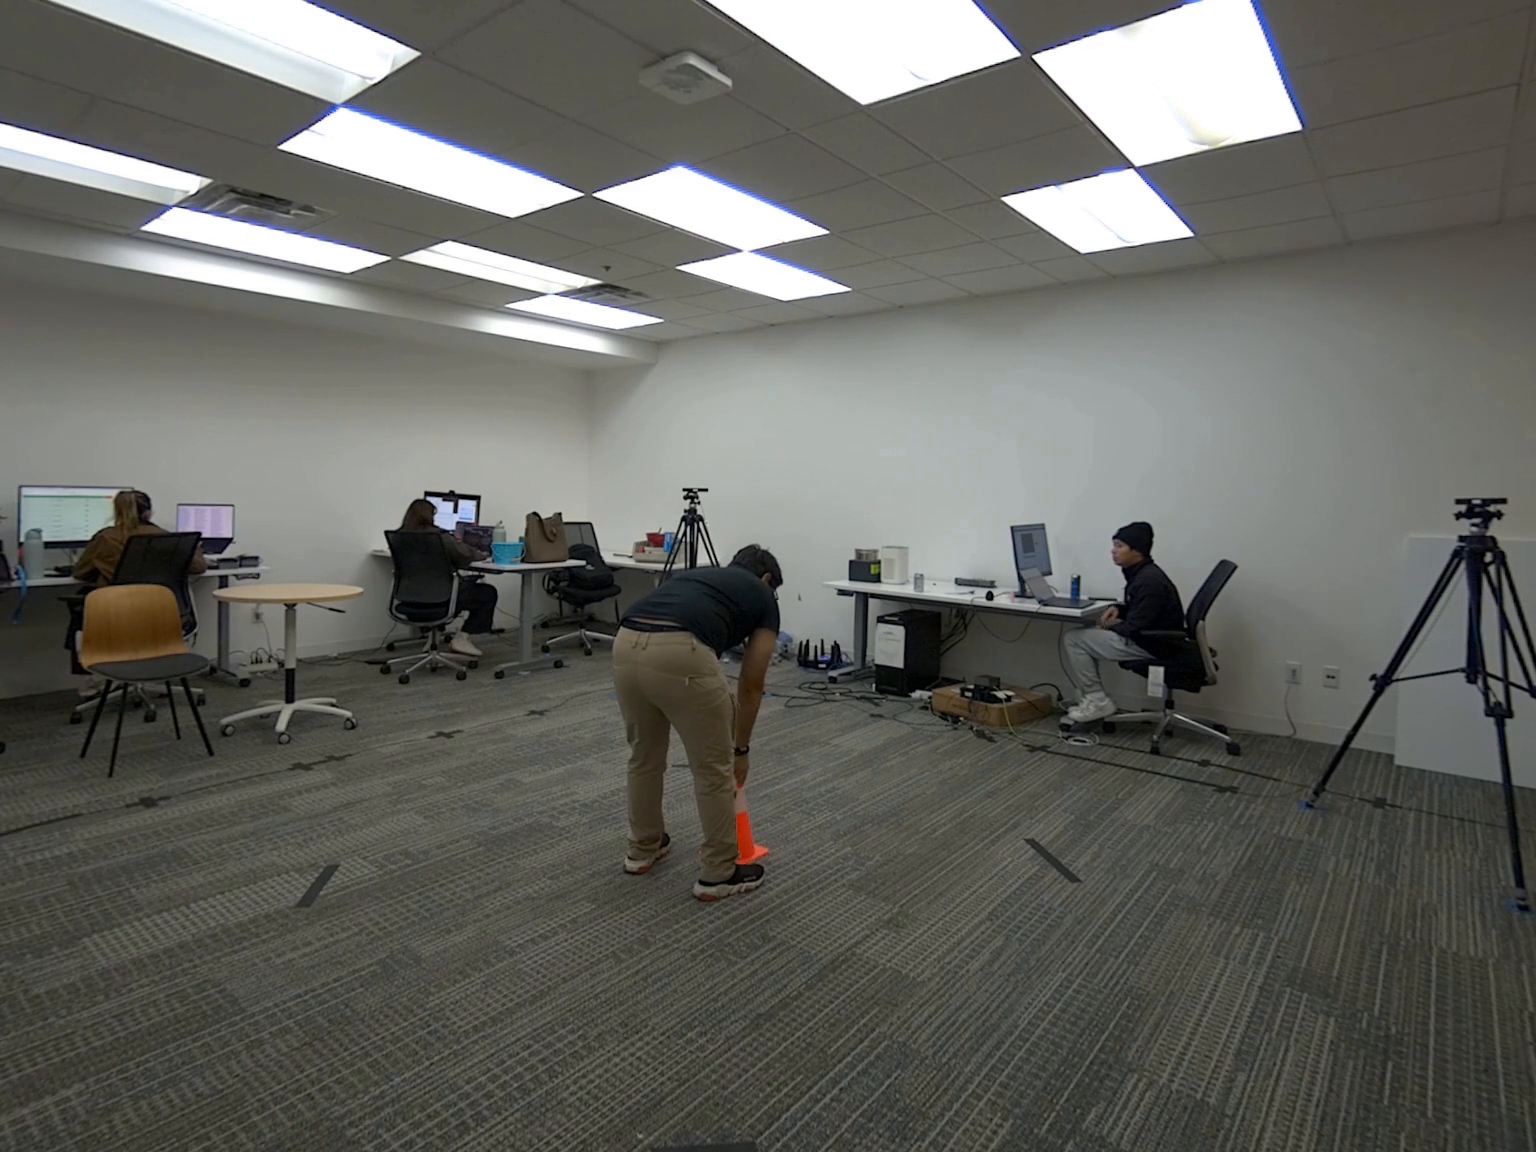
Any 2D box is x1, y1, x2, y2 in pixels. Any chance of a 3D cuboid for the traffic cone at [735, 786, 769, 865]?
[{"bbox_3d":[-0.142,0.869,3.258,0.211,0.383,0.197,0,3,43],"label":"traffic cone"}]
